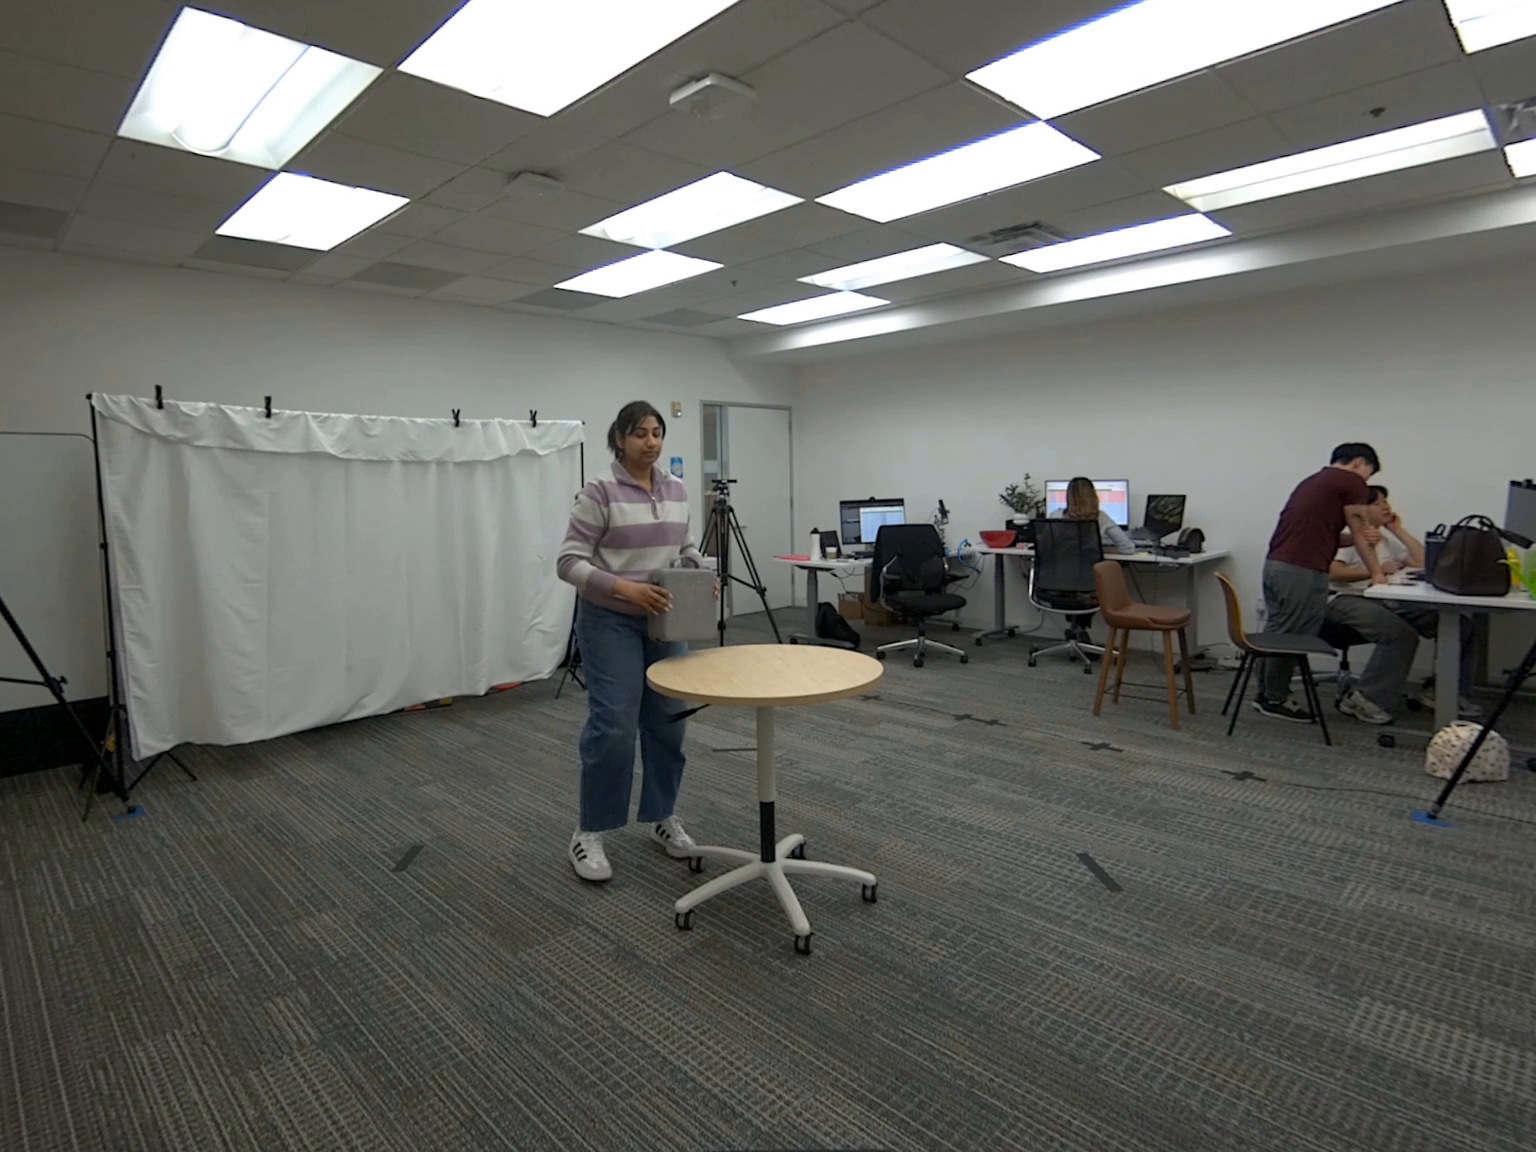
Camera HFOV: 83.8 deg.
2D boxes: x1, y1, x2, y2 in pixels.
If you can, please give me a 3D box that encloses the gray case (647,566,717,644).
[{"bbox_3d":[-0.307,0.101,2.995,0.107,0.261,0.249,-6,-4,44],"label":"gray case"}]
